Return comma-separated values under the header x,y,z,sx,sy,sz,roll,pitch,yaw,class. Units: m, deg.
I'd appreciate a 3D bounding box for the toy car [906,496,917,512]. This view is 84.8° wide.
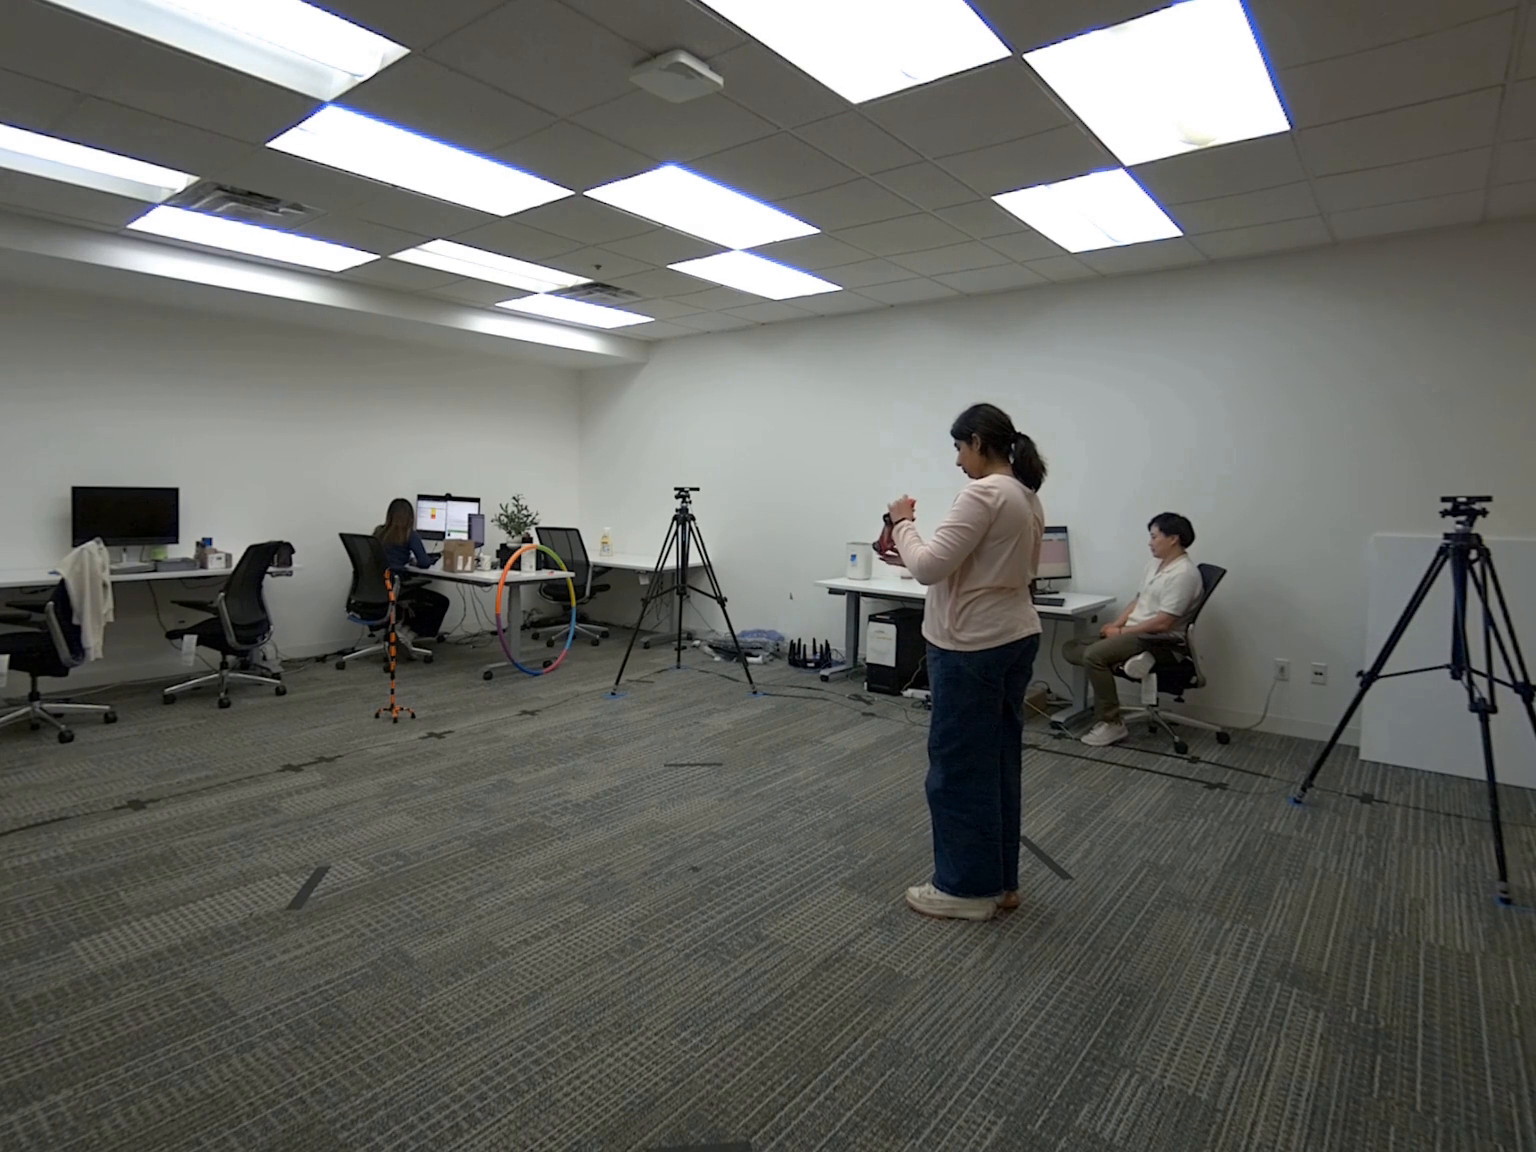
x,y,z,sx,sy,sz,roll,pitch,yaw,class
0.456,-0.185,3.038,0.129,0.085,0.252,-32,-17,-34,toy car
